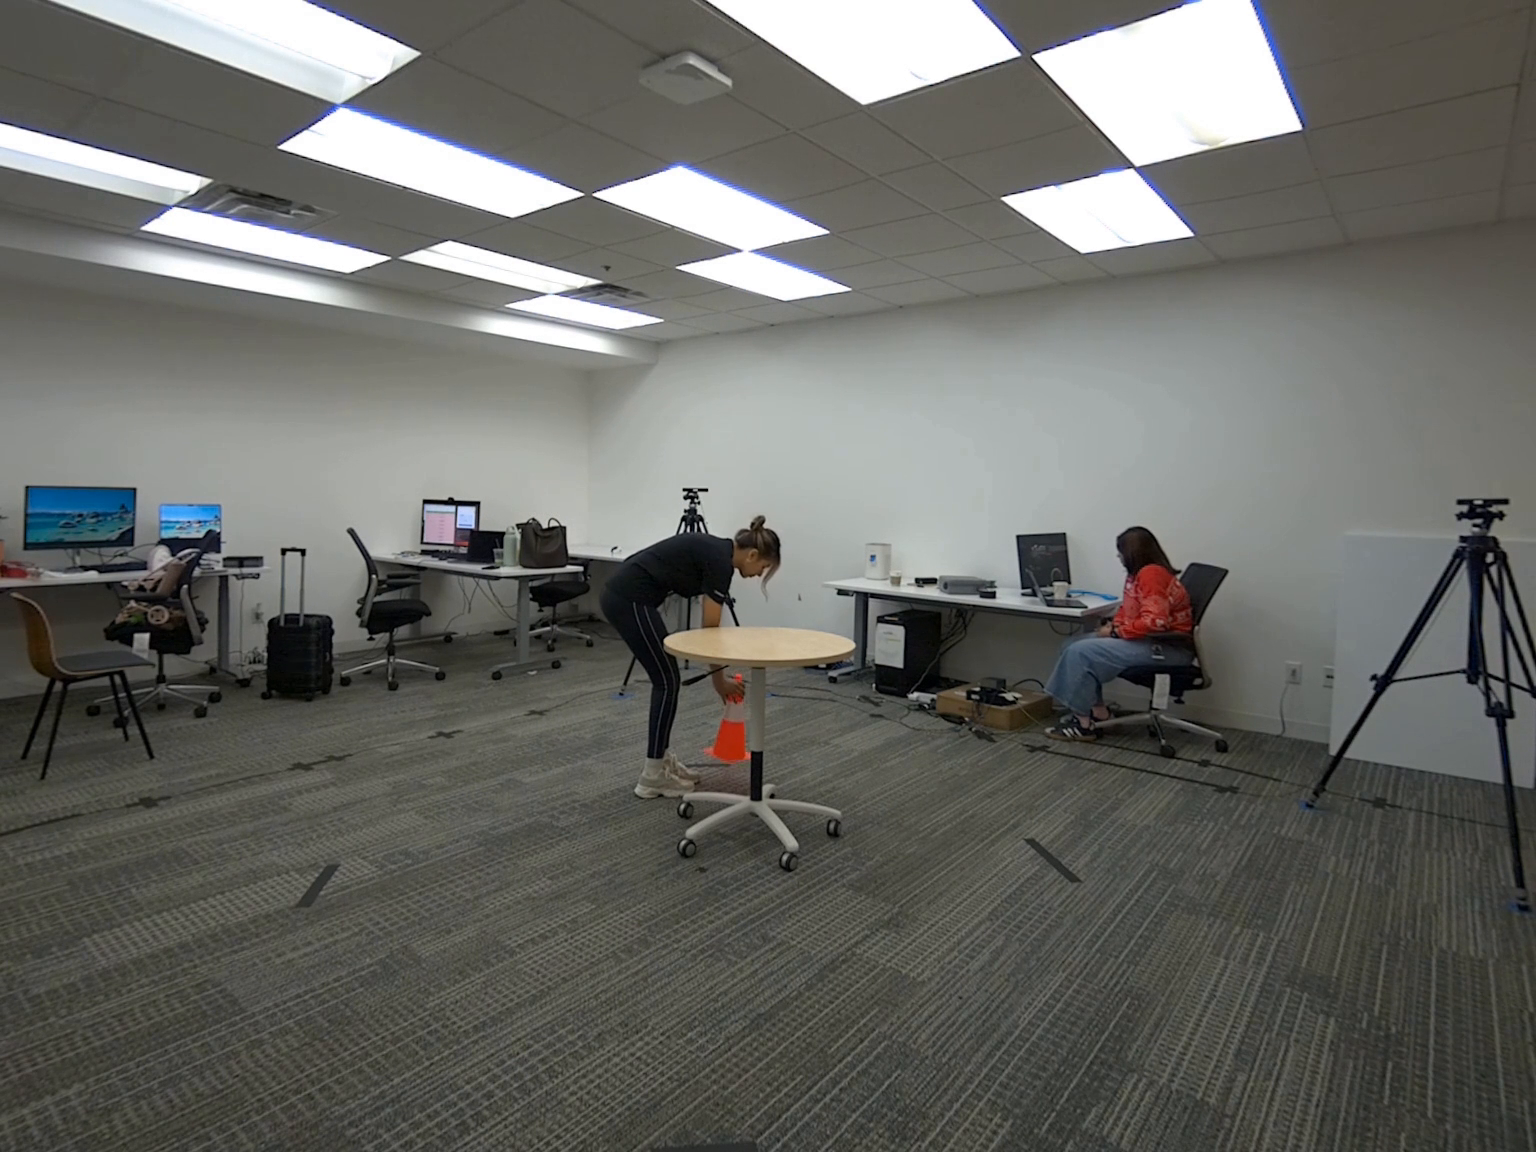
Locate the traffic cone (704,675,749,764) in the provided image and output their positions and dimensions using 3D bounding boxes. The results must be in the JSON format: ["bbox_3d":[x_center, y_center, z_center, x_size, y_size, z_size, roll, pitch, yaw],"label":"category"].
[{"bbox_3d":[-0.178,0.658,4.030,0.196,0.383,0.212,5,4,-42],"label":"traffic cone"}]
